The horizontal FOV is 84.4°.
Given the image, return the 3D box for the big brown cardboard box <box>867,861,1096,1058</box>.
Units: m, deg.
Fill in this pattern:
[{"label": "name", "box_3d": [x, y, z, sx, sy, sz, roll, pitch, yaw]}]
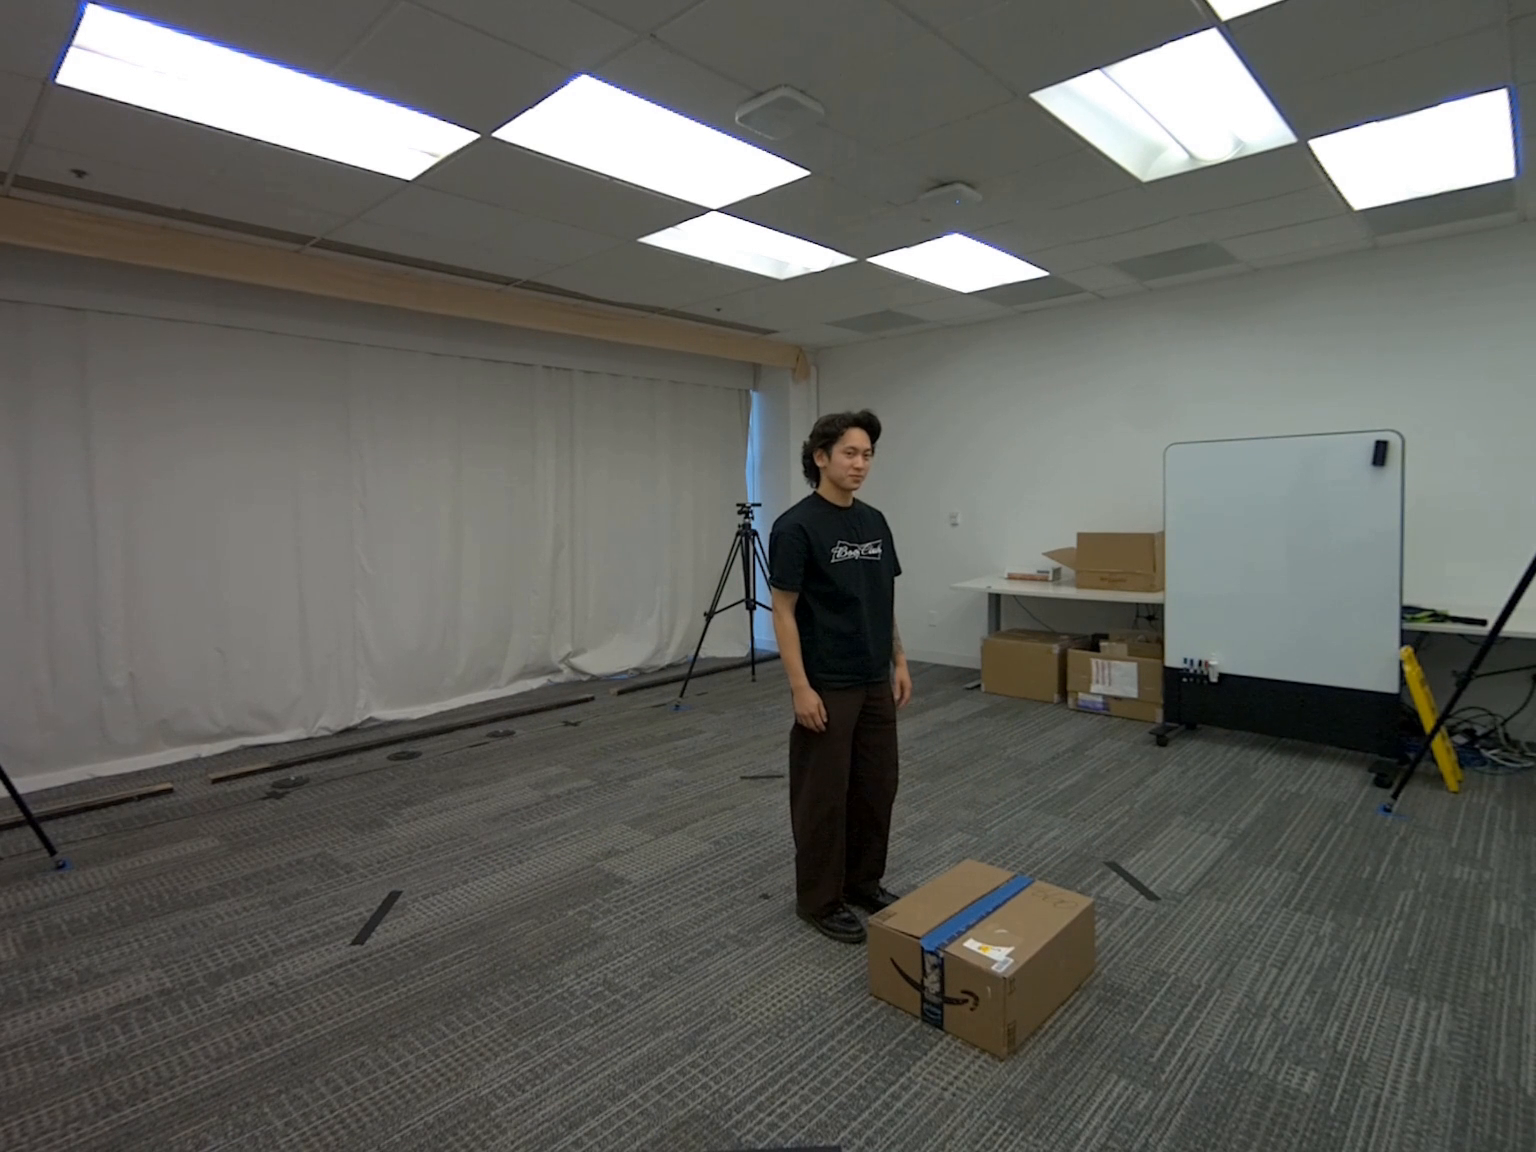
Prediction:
[{"label": "big brown cardboard box", "box_3d": [0.615, 1.057, 2.420, 0.431, 0.232, 0.571, 4, 6, 43]}]
